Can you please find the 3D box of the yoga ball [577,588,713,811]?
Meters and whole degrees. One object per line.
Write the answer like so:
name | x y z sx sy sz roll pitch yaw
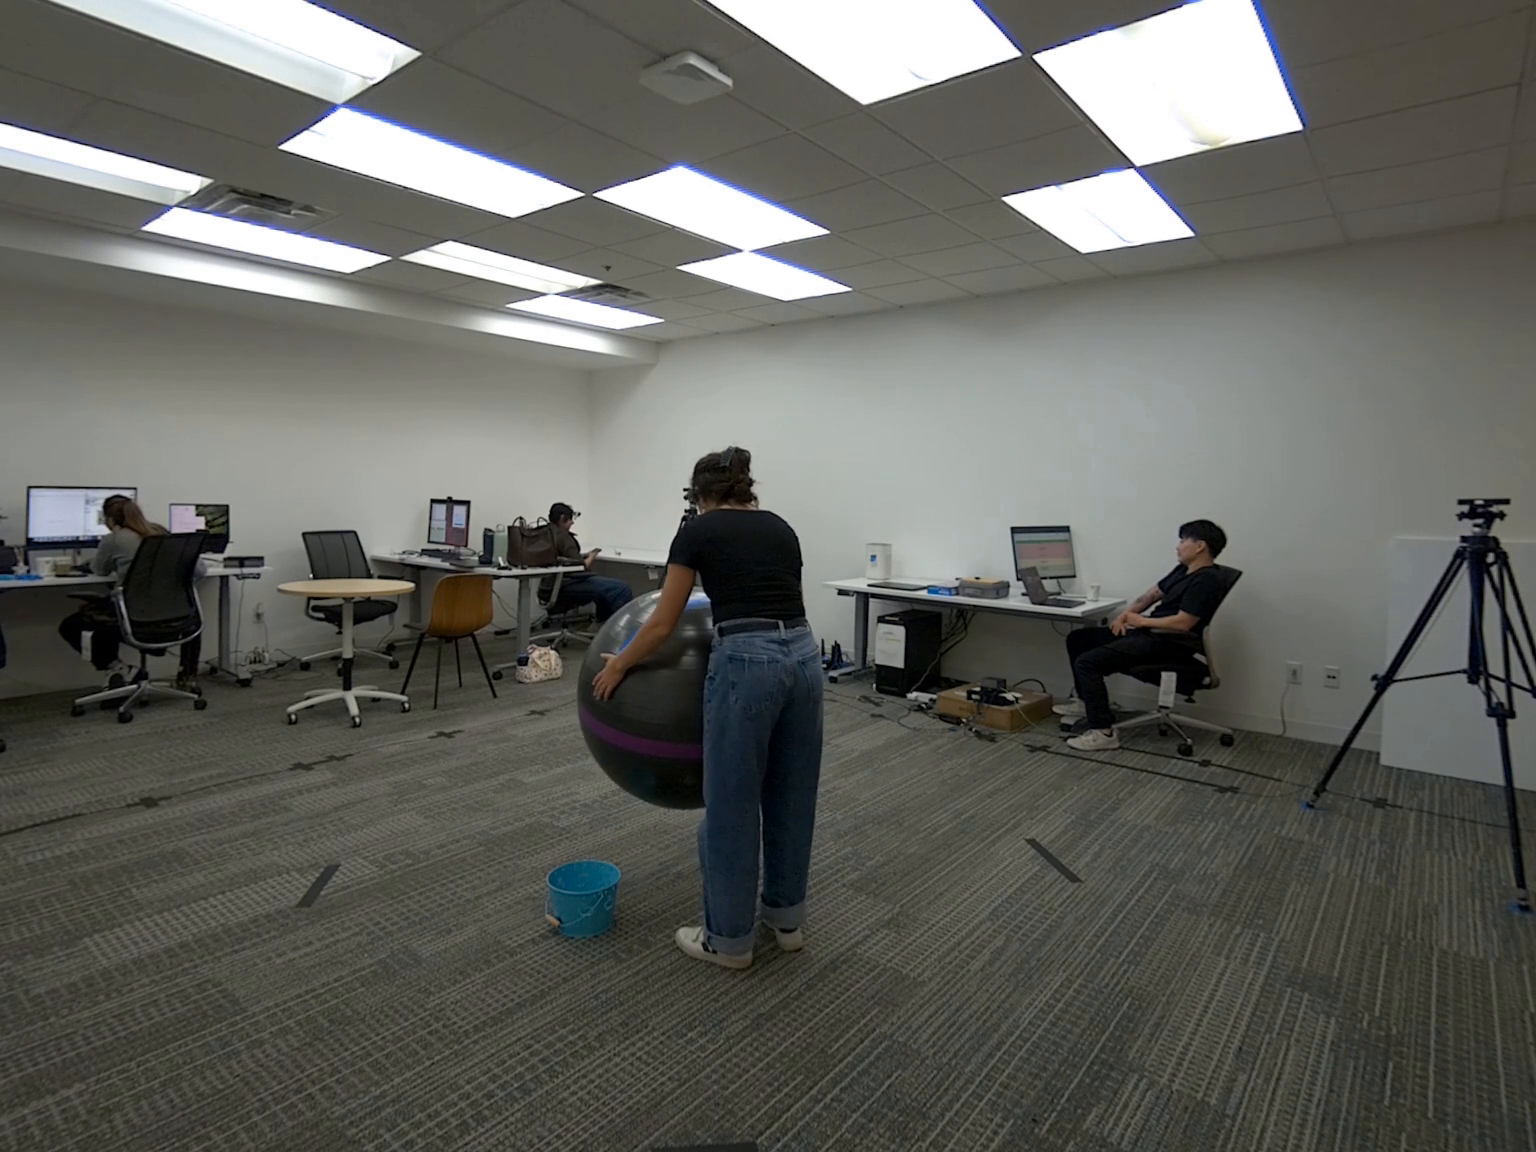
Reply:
yoga ball | -0.293 0.422 2.962 0.757 0.755 0.762 1 4 -2
